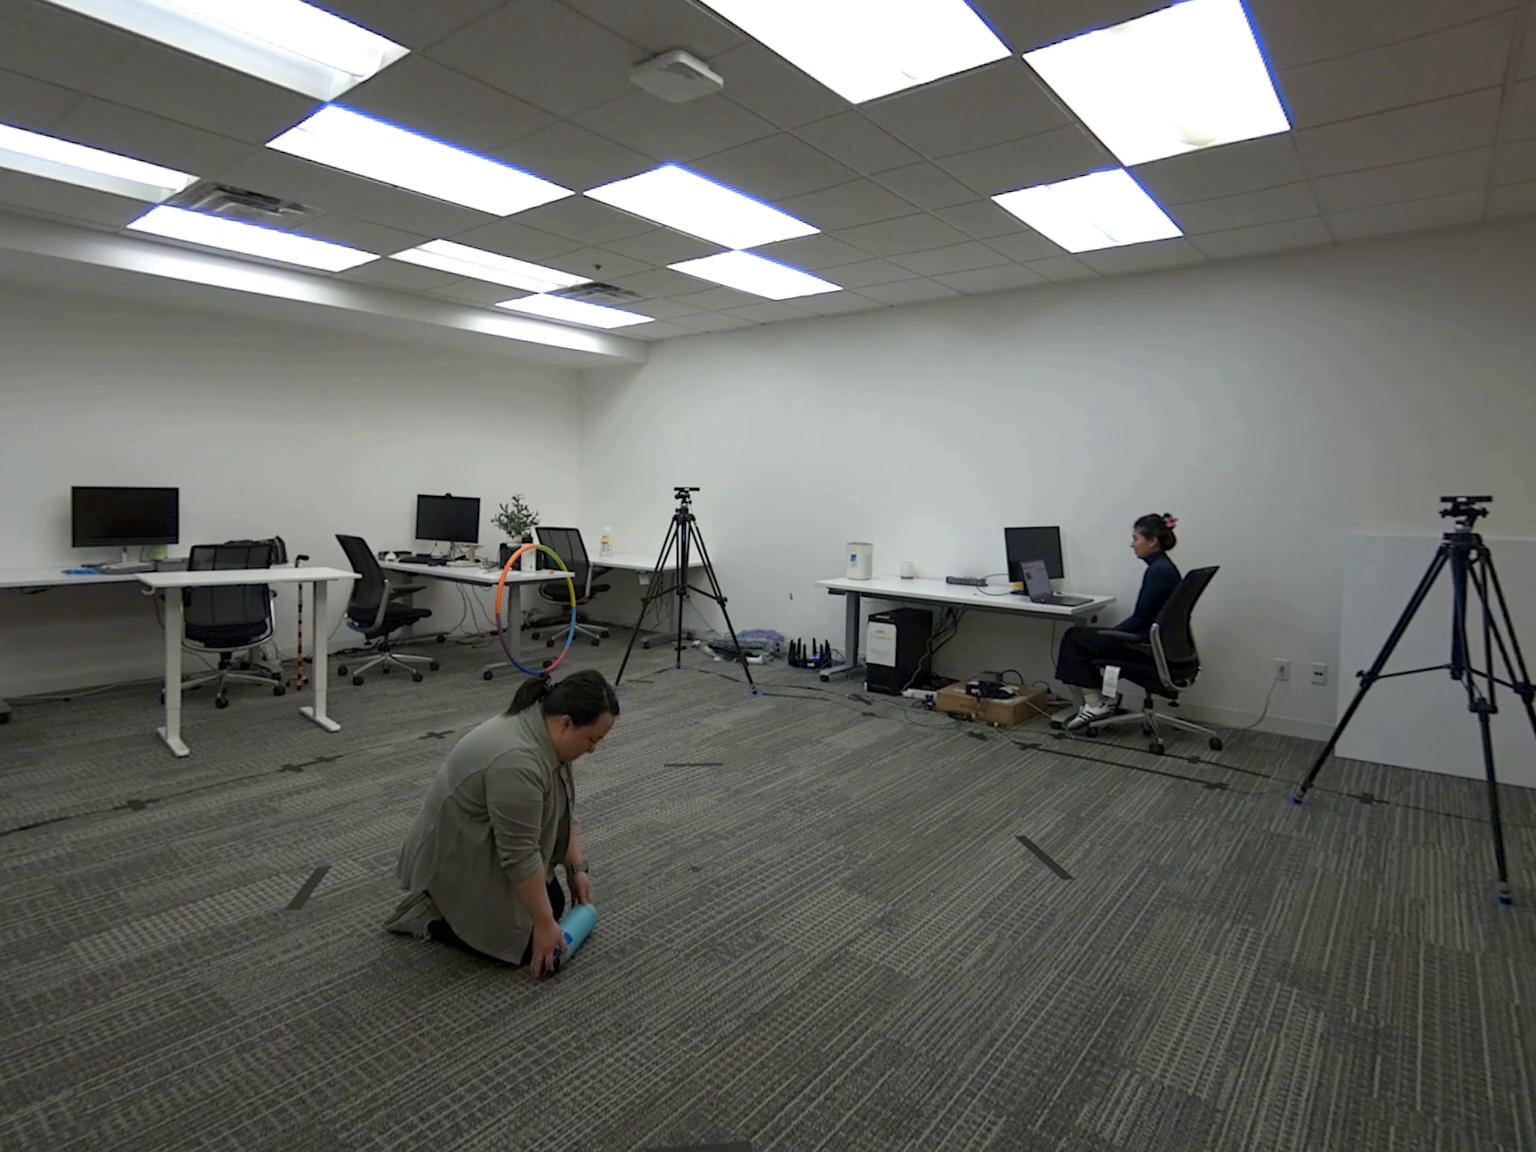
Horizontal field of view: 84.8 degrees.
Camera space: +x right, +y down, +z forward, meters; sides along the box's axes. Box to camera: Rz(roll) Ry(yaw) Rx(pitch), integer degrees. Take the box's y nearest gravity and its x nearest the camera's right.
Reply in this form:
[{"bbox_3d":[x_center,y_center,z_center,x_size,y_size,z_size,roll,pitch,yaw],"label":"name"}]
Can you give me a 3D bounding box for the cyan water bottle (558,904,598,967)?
[{"bbox_3d":[-0.614,1.081,2.520,0.093,0.092,0.281,2,4,8],"label":"cyan water bottle"}]
